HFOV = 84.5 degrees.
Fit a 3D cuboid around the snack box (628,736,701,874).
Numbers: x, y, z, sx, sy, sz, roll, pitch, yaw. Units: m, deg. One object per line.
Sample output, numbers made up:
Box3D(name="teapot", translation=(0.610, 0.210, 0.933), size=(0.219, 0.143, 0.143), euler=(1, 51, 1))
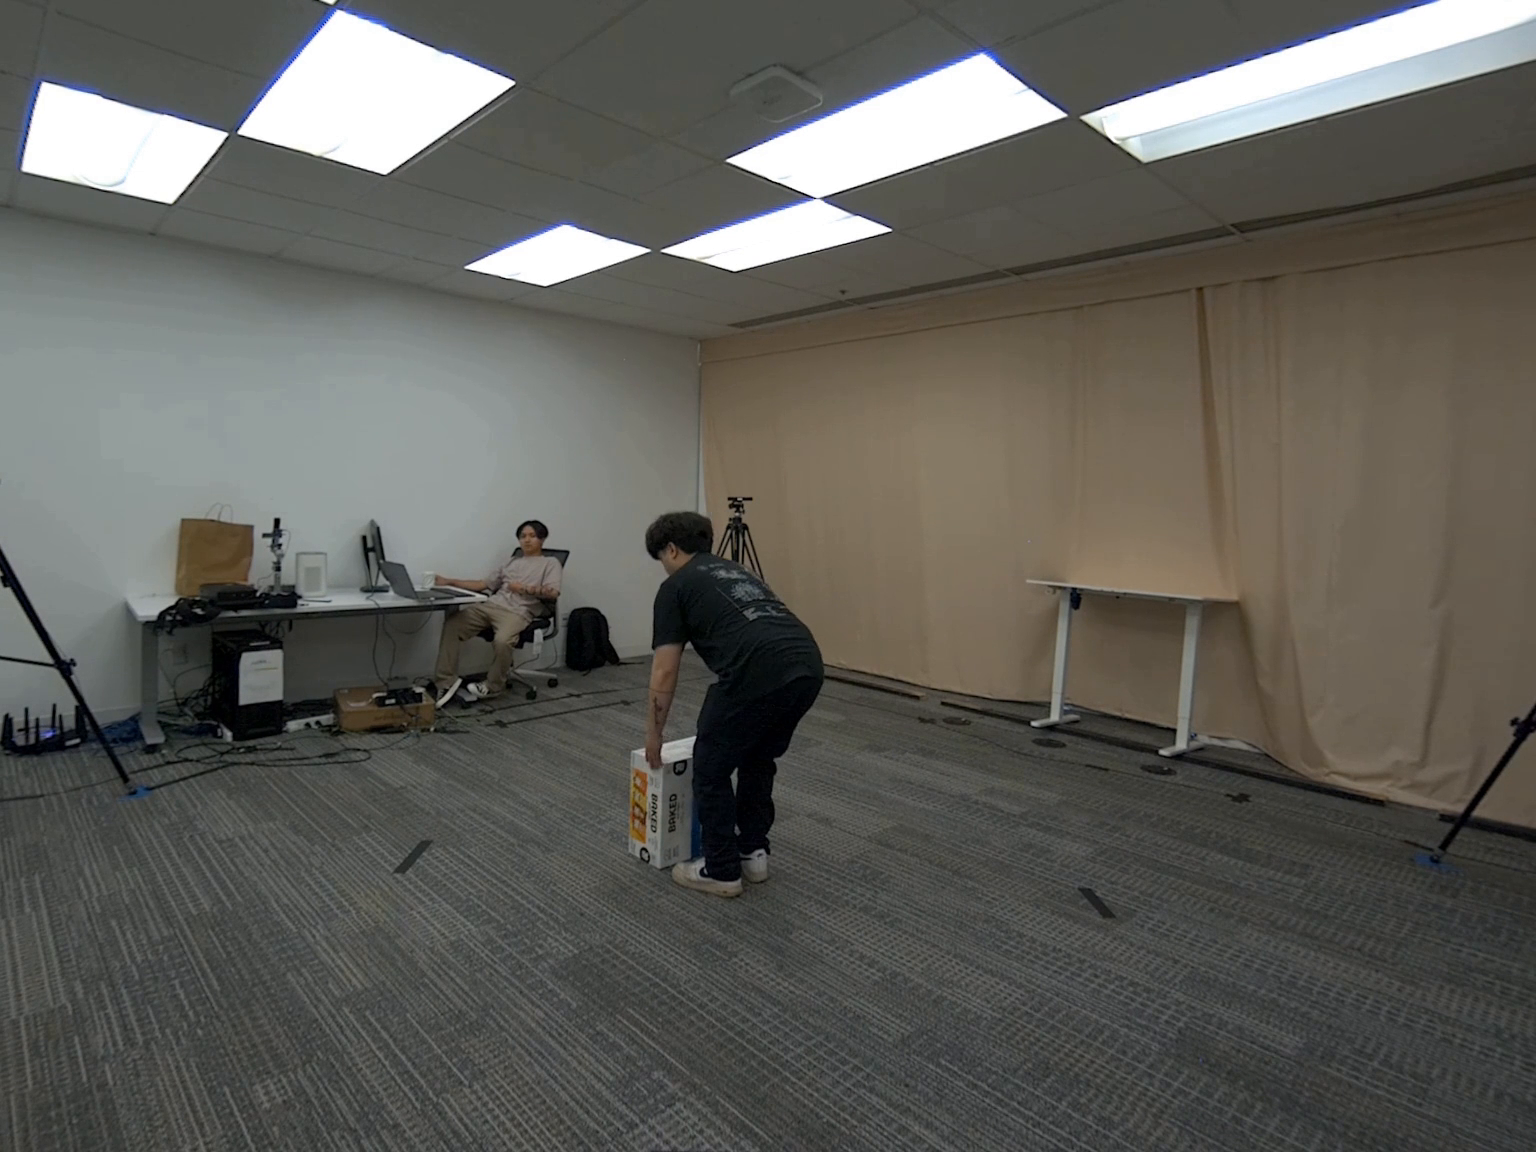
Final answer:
Box3D(name="snack box", translation=(-0.347, 0.881, 3.315), size=(0.332, 0.404, 0.211), euler=(-3, 6, -45))
